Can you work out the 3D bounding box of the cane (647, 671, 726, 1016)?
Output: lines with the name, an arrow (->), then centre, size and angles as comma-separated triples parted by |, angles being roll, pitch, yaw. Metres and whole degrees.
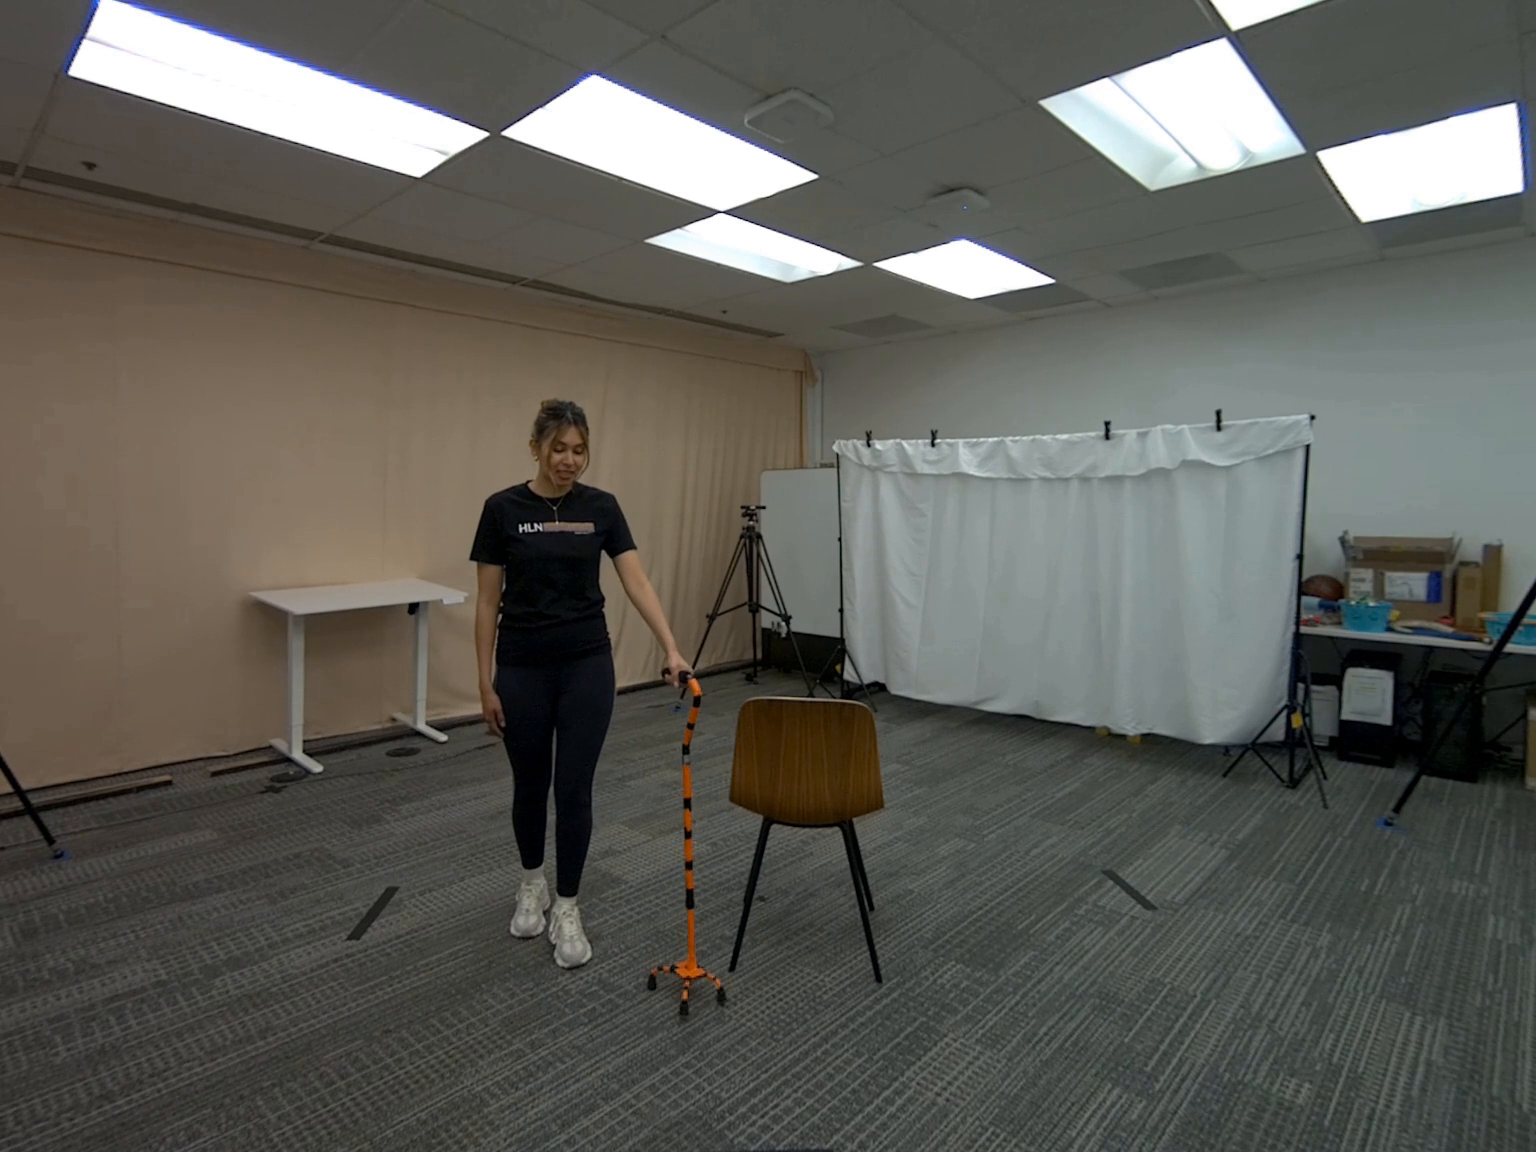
cane -> -0.240, 0.727, 2.389 | 0.147, 0.908, 0.213 | 0, 0, -36
